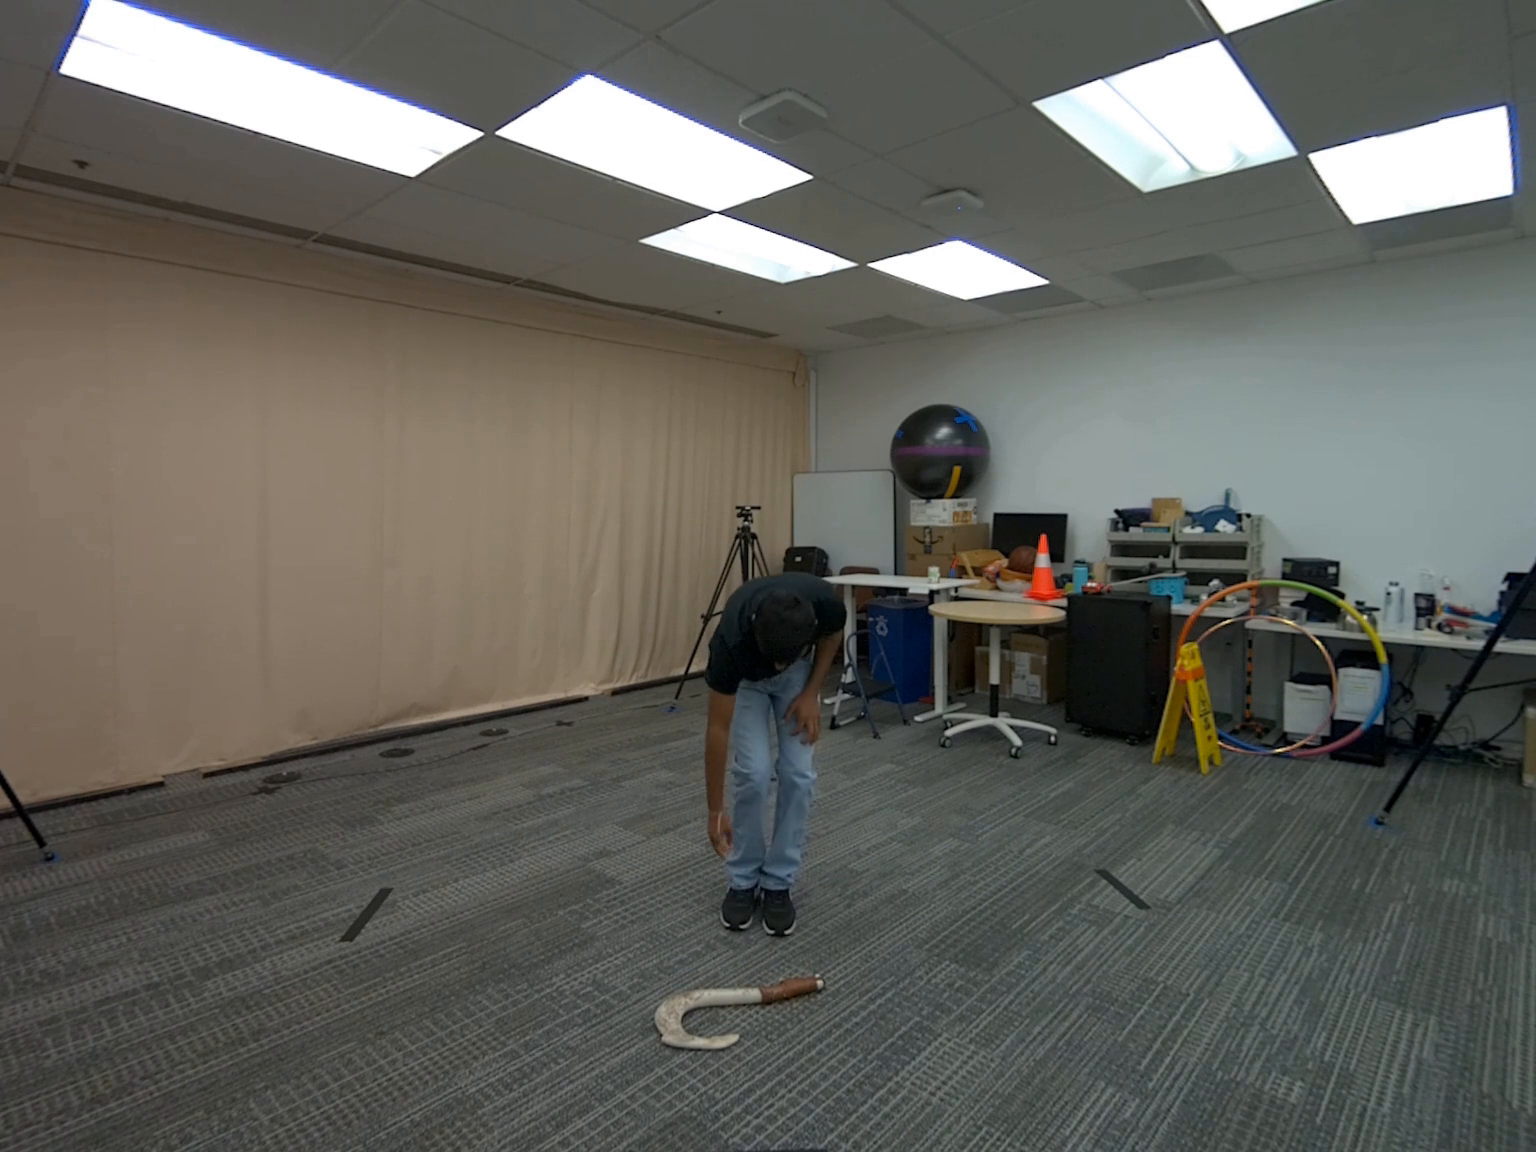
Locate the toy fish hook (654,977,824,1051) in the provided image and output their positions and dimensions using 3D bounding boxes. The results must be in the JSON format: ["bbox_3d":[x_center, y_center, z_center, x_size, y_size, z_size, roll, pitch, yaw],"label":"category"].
[{"bbox_3d":[-0.052,1.183,2.298,0.497,0.048,0.231,-3,13,-20],"label":"toy fish hook"}]
